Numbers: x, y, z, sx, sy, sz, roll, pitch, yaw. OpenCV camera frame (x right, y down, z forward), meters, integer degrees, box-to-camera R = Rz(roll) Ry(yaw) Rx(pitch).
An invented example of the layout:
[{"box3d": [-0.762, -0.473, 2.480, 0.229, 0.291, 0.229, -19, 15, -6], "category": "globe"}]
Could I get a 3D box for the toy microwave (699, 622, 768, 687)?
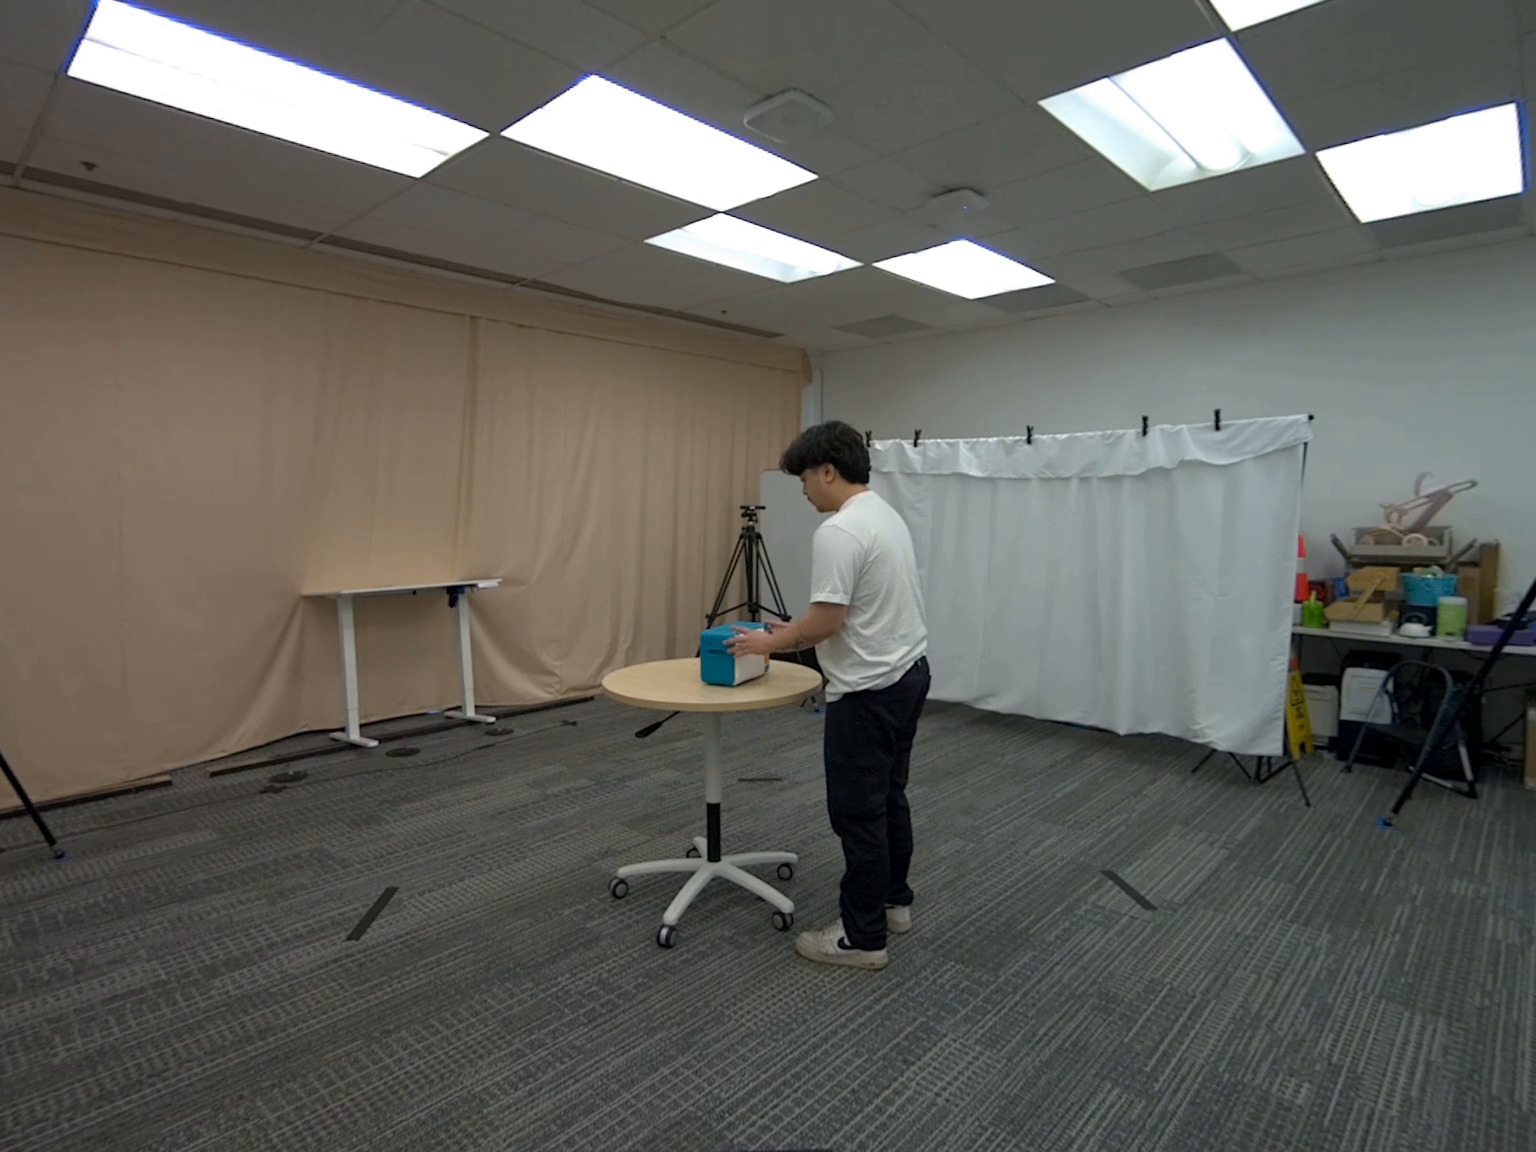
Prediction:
[{"box3d": [-0.101, 0.266, 2.903, 0.156, 0.184, 0.279, 1, 4, 28], "category": "toy microwave"}]
